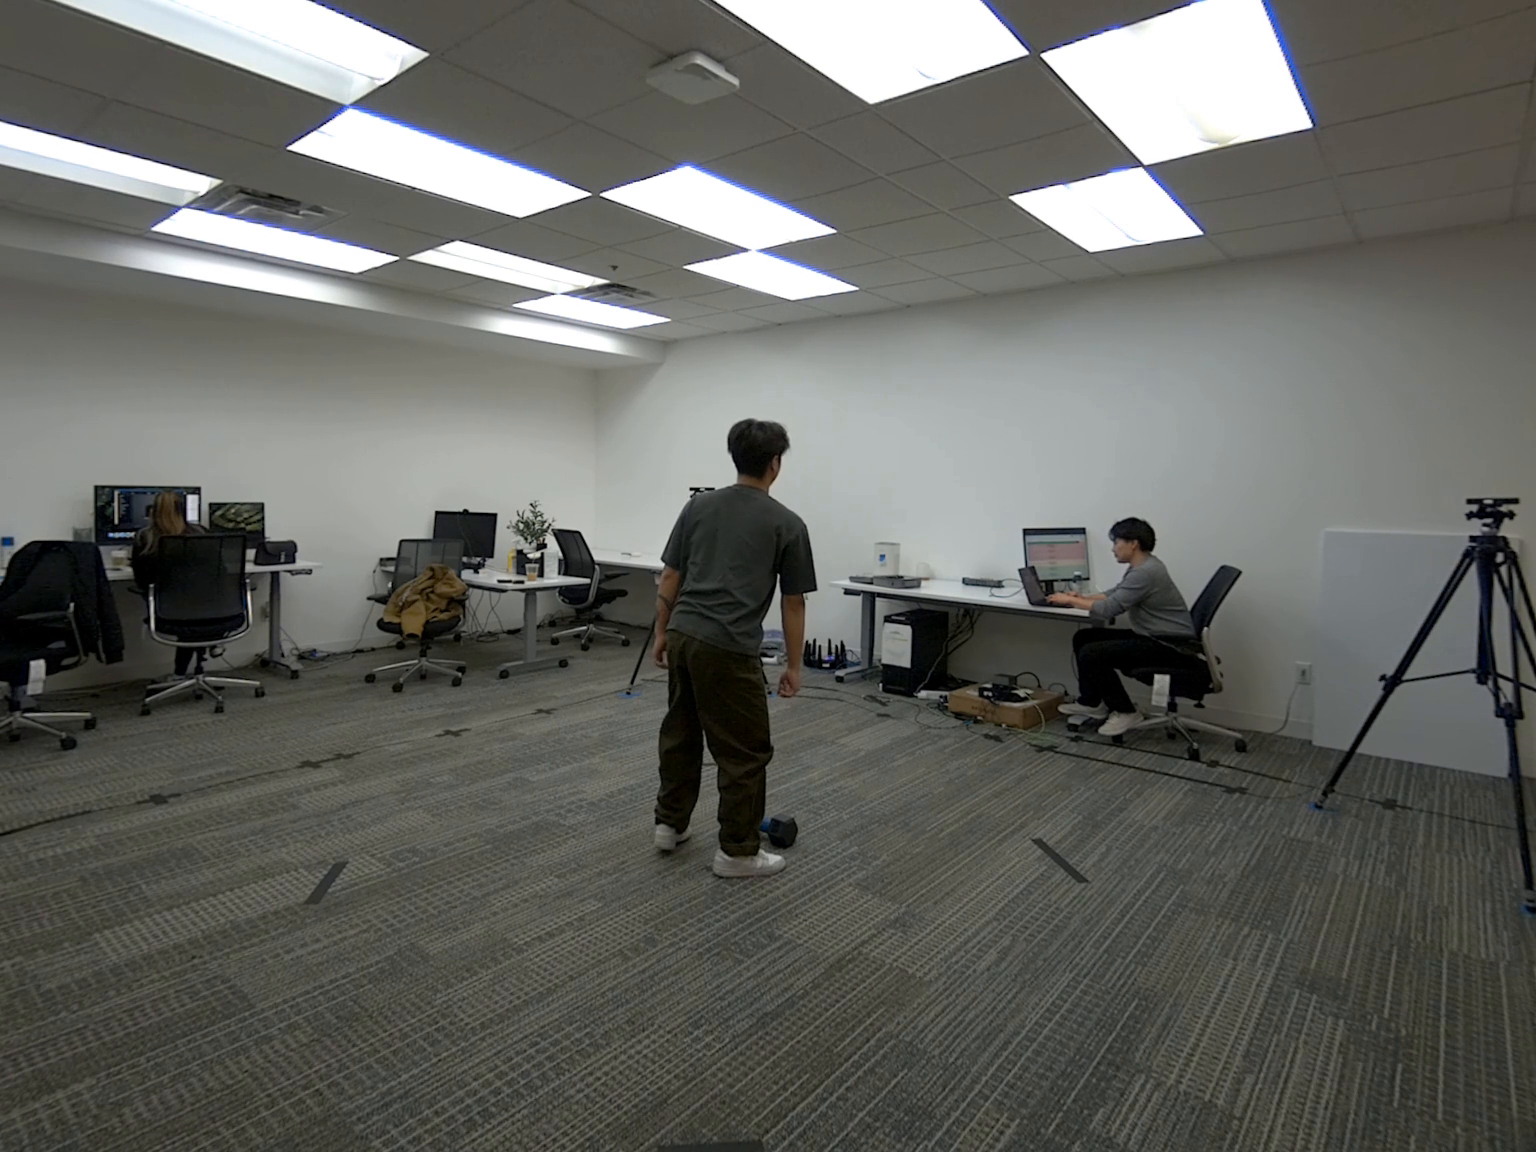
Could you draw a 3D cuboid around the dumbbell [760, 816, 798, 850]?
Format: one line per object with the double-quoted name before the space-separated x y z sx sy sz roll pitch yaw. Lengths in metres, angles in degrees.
"dumbbell" -0.033 0.988 3.402 0.303 0.124 0.104 4 -26 41
